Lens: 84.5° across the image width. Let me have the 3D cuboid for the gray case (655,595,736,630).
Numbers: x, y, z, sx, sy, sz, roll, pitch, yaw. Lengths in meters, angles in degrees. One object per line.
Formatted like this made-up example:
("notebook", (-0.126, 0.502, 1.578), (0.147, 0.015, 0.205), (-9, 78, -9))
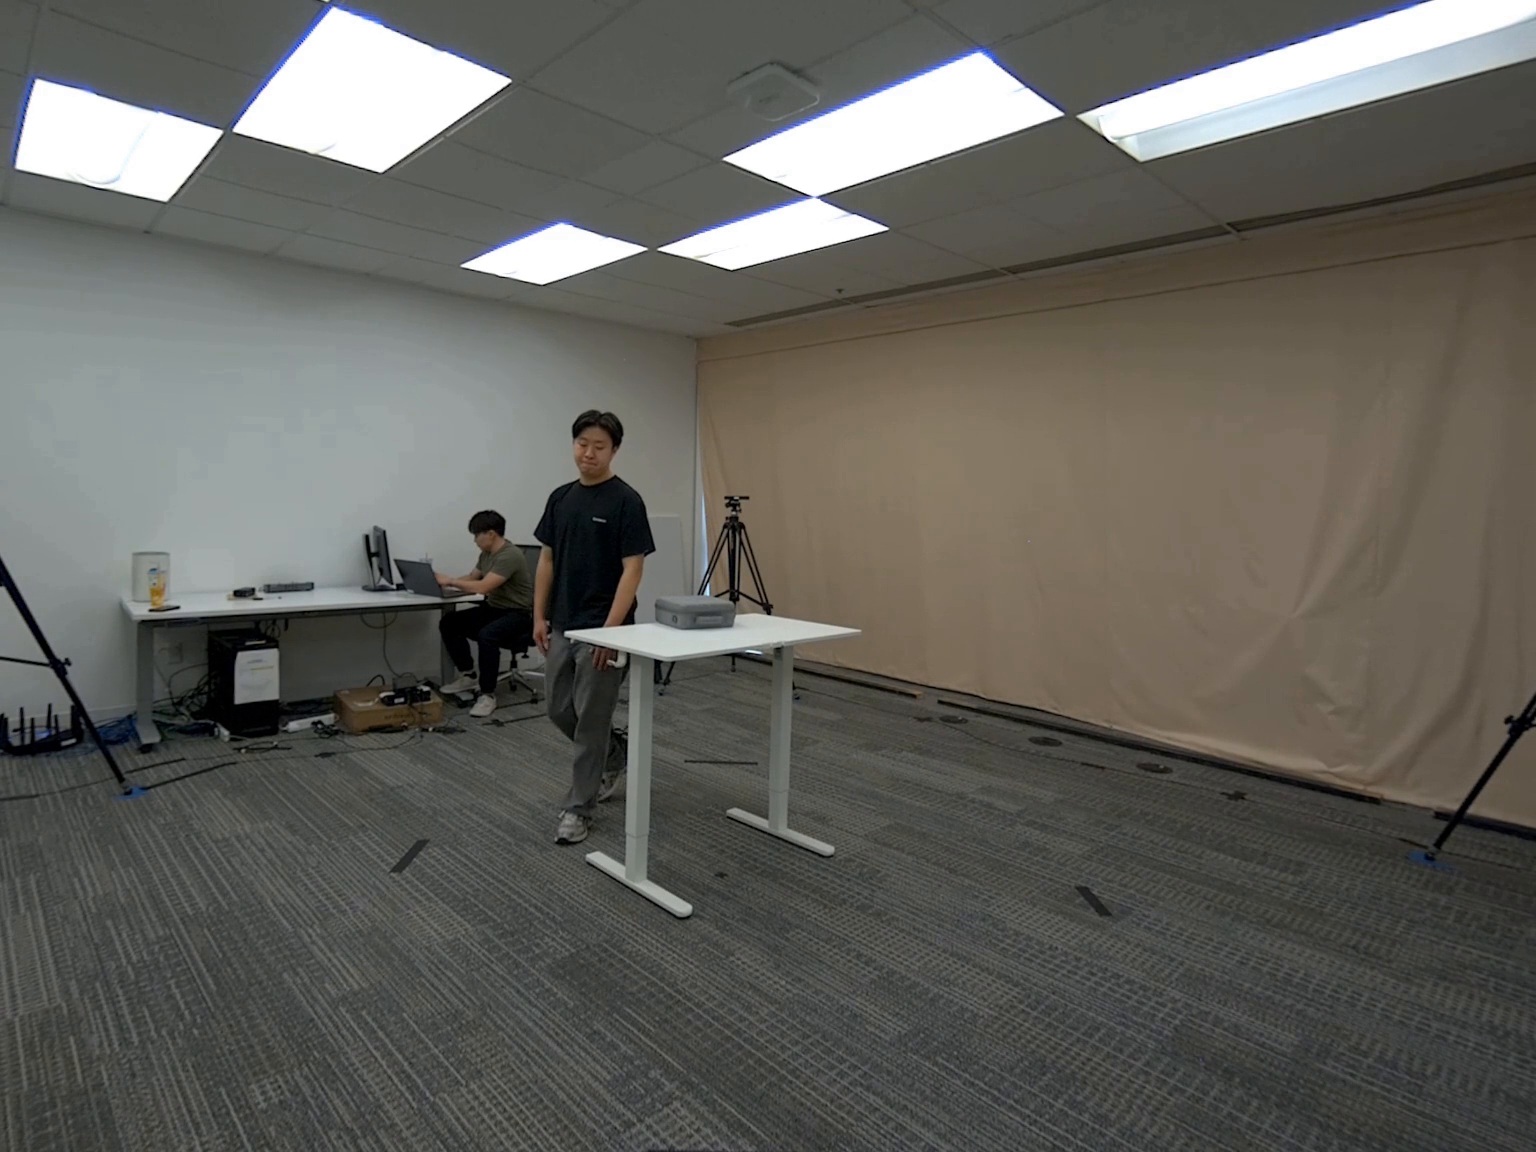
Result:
("gray case", (-0.289, 0.143, 3.355), (0.252, 0.104, 0.266), (0, 6, -29))
